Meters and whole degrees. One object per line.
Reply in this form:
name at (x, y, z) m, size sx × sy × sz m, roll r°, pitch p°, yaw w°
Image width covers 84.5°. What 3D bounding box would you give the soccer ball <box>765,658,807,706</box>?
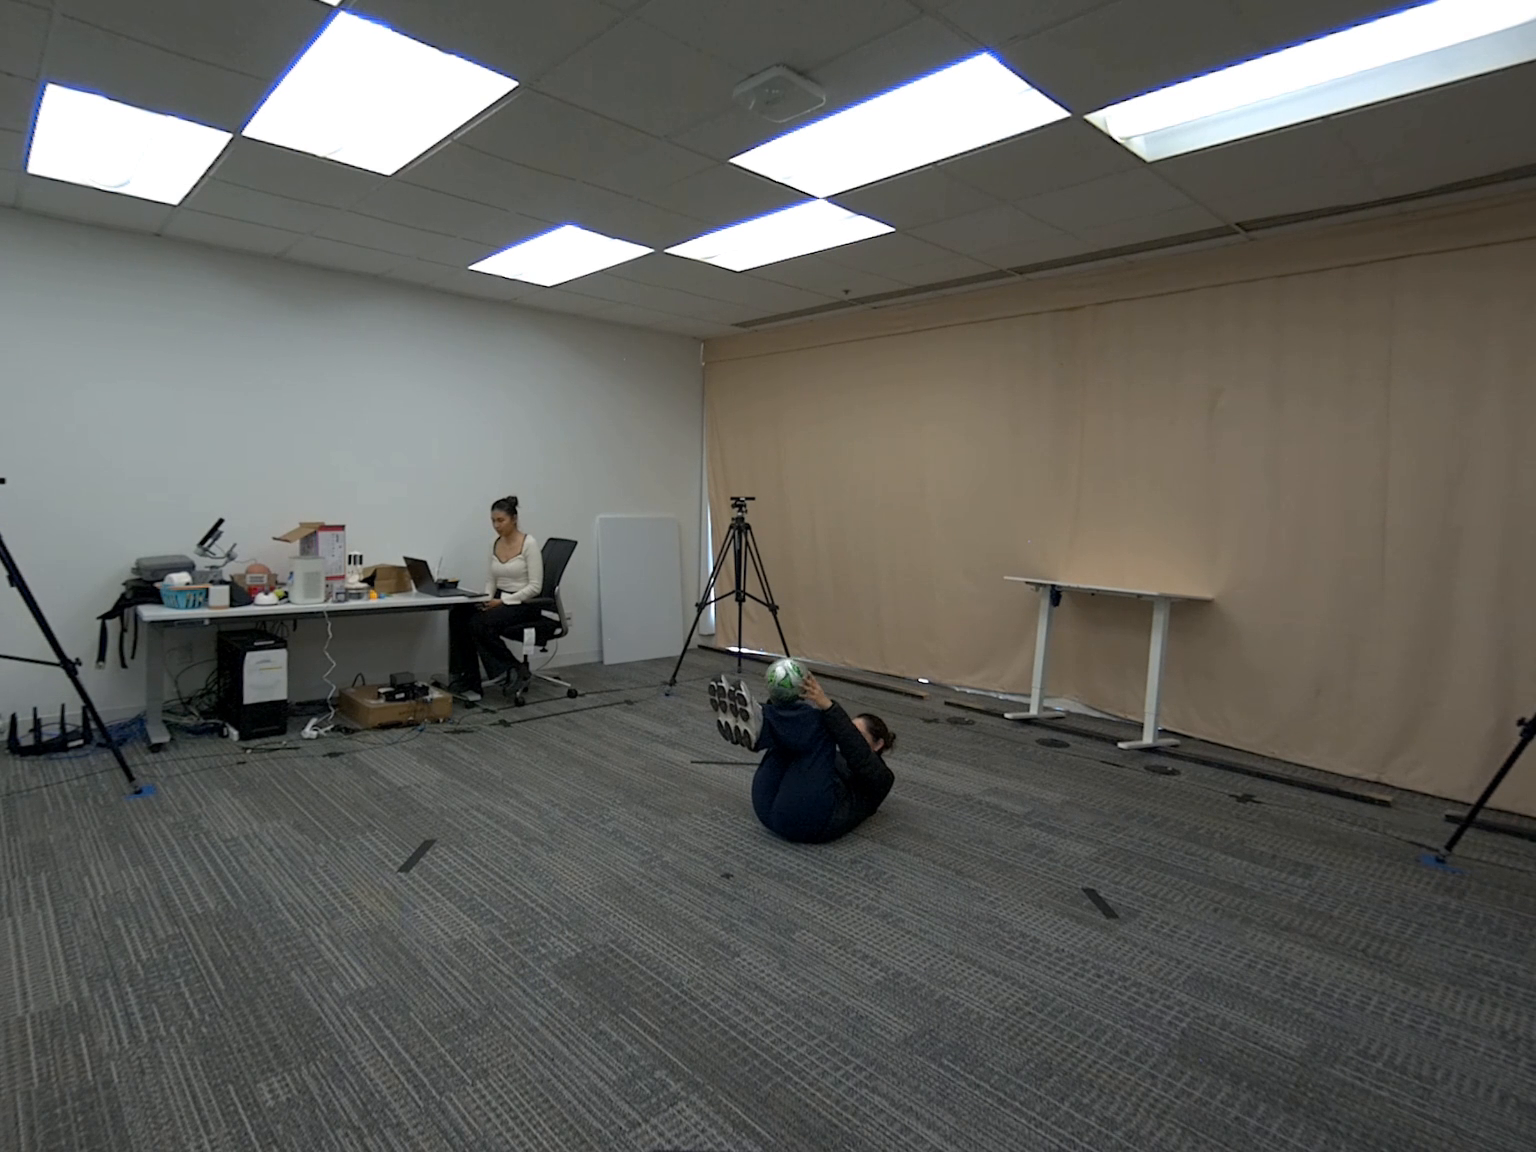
soccer ball at (0.070, 0.429, 3.479) m, size 0.187 × 0.186 × 0.188 m, roll 0°, pitch 7°, yaw -1°
